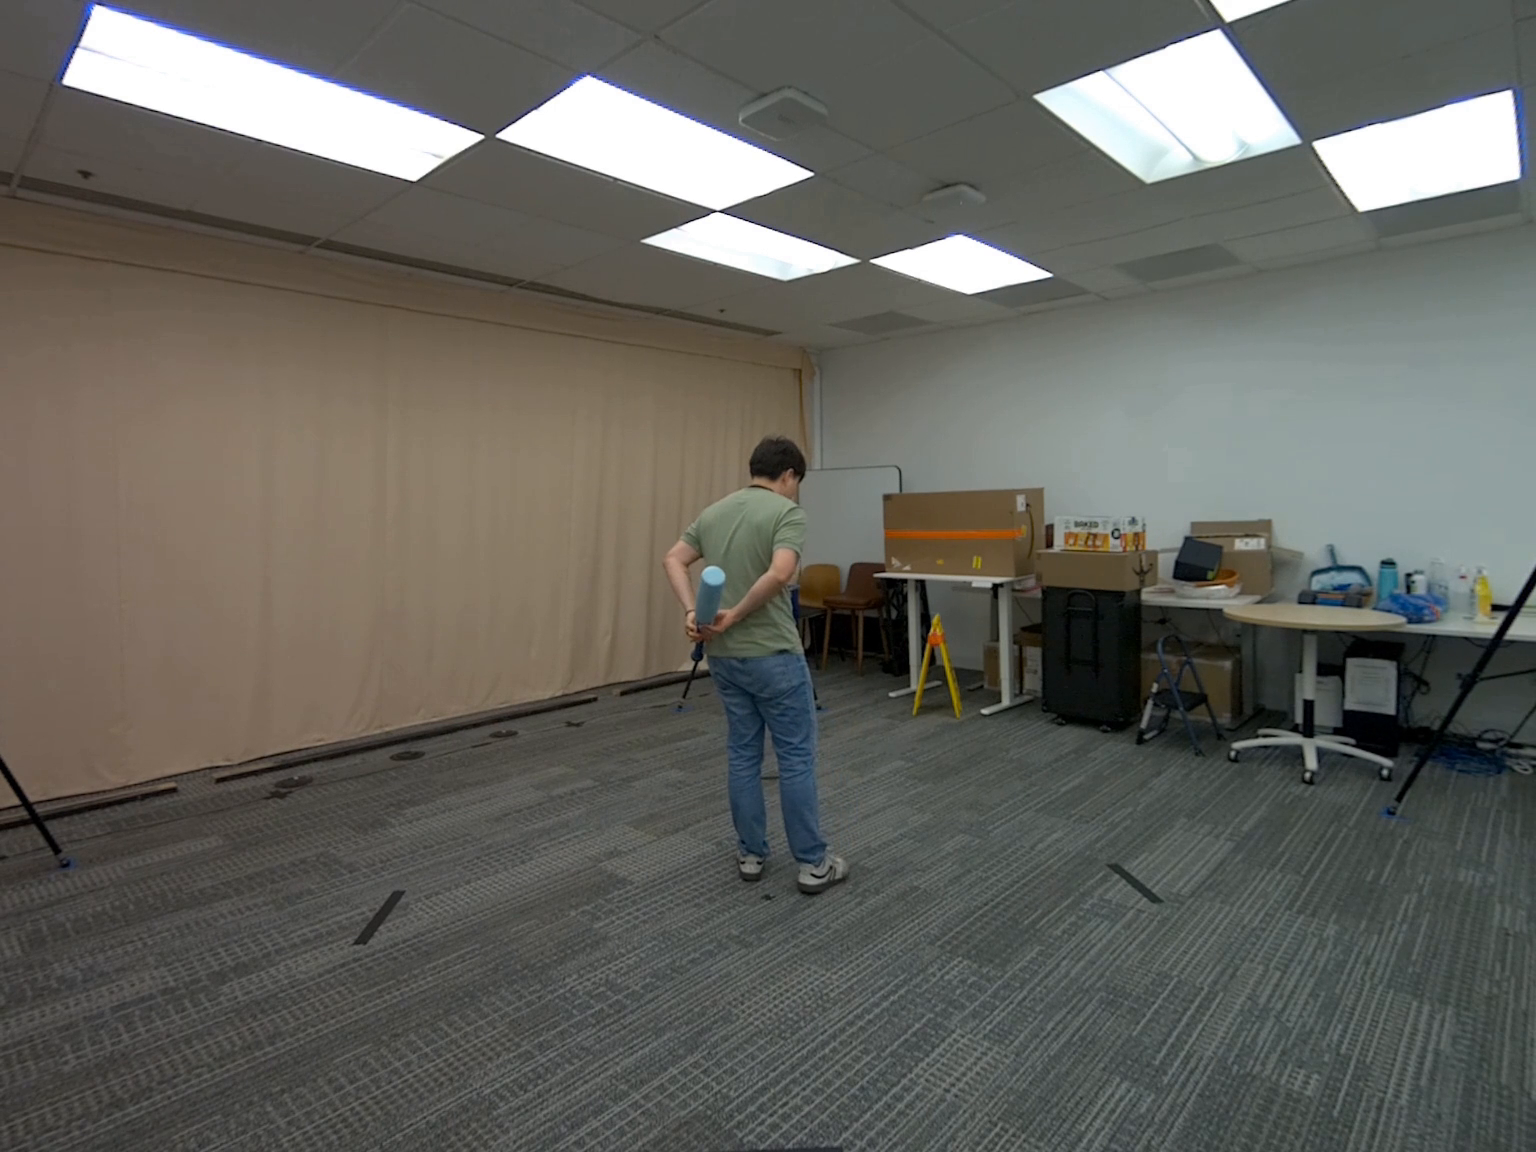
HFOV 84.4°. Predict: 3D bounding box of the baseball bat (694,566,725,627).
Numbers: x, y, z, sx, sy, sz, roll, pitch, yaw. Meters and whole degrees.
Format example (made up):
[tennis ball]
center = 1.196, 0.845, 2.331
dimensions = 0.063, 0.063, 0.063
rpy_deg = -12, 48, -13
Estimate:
[baseball bat]
center = -0.229, 0.164, 3.018
dimensions = 0.088, 0.091, 0.537
rpy_deg = -1, -38, -13
